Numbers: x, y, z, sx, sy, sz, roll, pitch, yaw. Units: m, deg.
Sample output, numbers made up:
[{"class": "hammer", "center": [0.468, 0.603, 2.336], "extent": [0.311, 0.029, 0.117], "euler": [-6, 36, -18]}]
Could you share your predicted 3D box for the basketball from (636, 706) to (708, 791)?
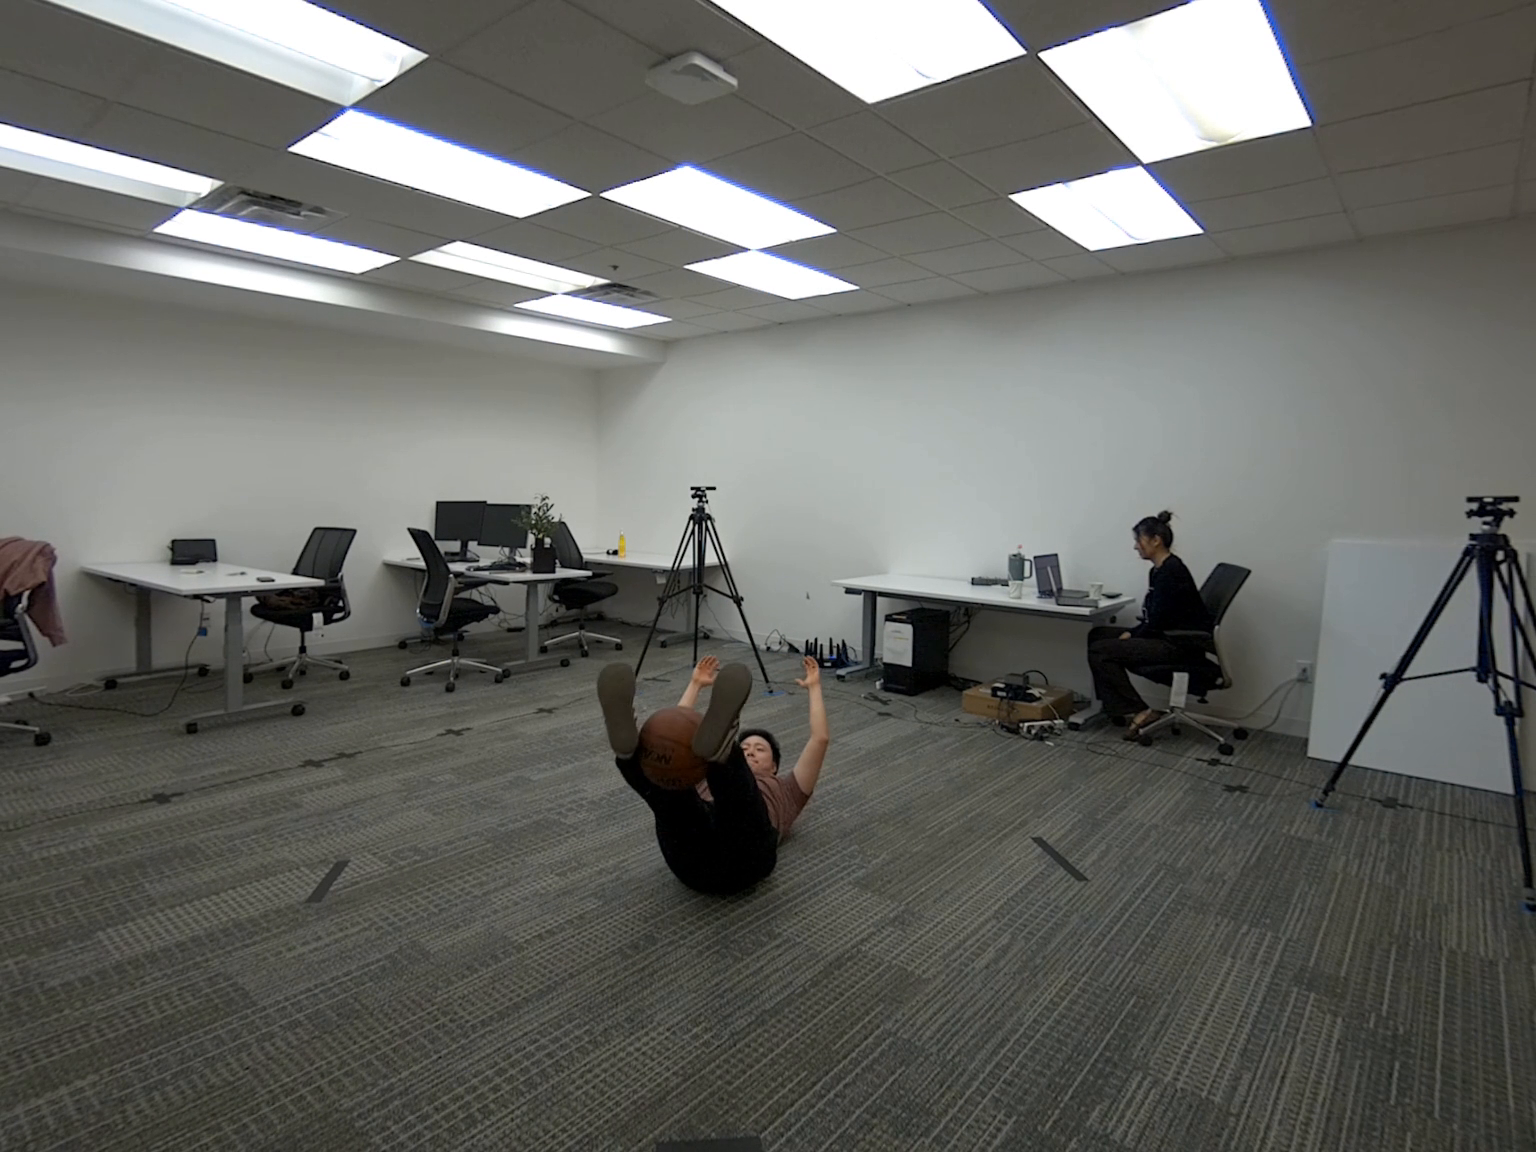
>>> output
[{"class": "basketball", "center": [-0.271, 0.504, 2.452], "extent": [0.236, 0.235, 0.237], "euler": [-3, 3, -2]}]
